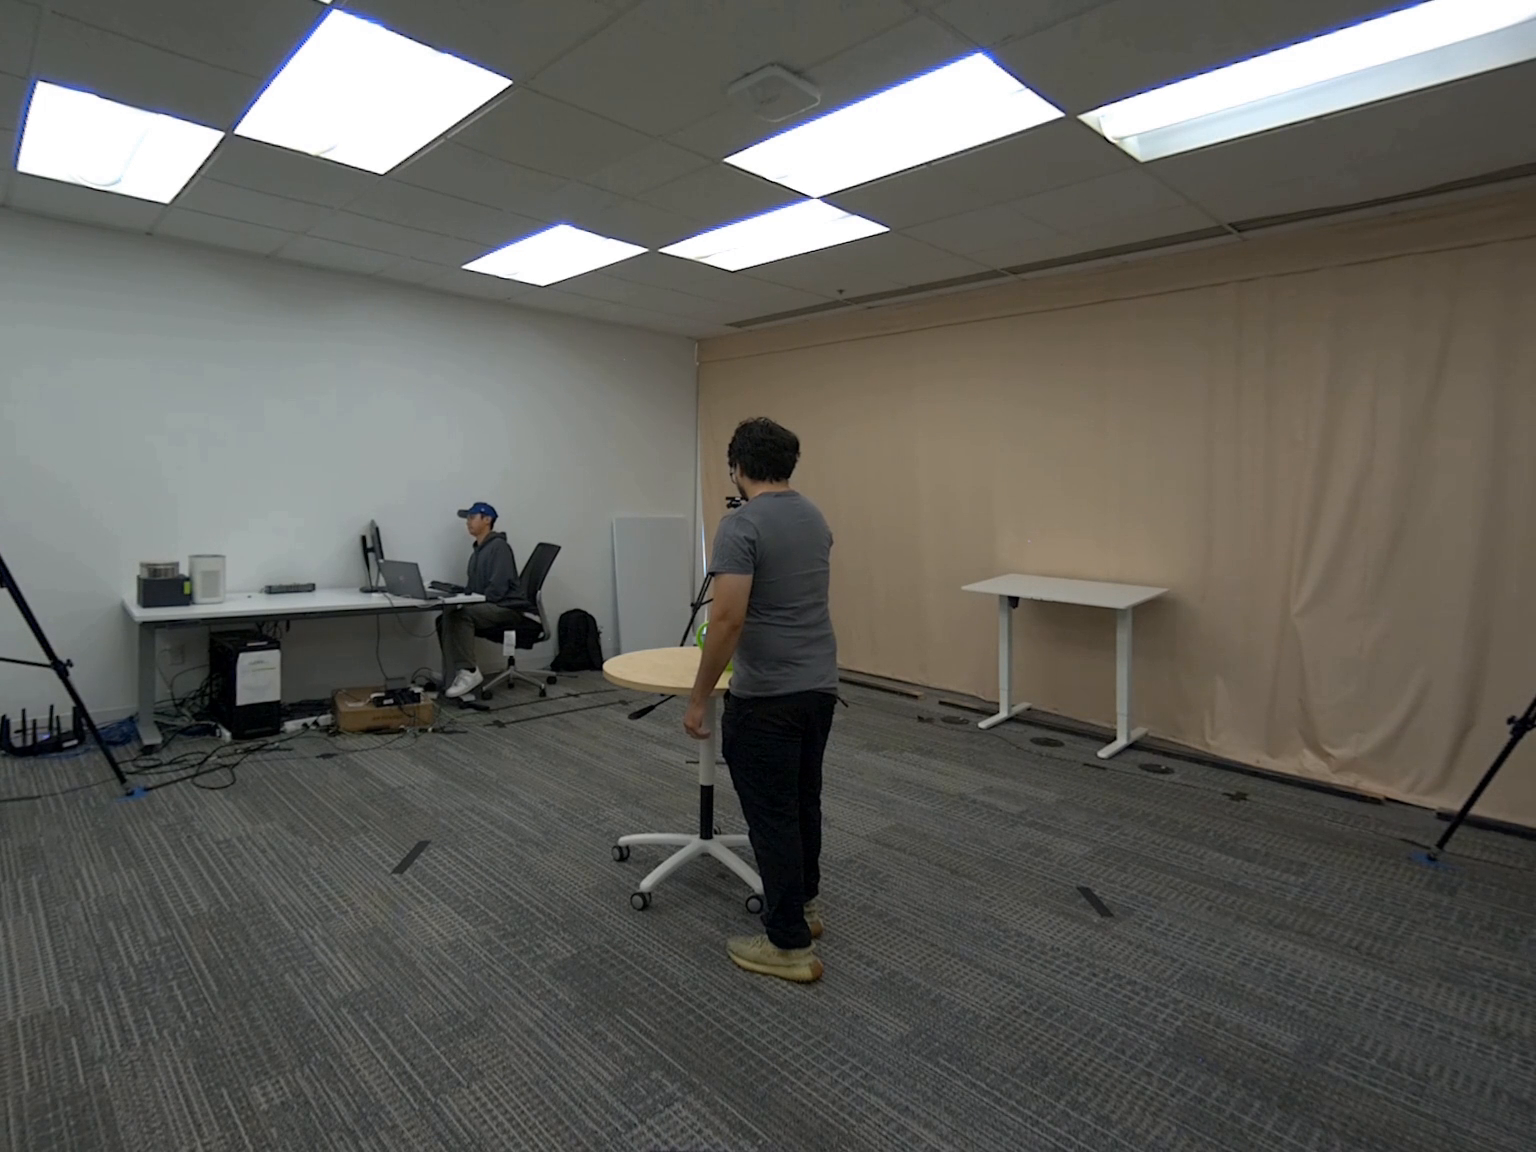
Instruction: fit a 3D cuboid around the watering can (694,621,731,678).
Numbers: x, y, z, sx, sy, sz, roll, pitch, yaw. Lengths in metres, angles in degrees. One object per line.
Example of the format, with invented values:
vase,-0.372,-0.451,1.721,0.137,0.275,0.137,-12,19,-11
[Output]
watering can,-0.118,0.252,2.997,0.278,0.176,0.098,0,7,-1
